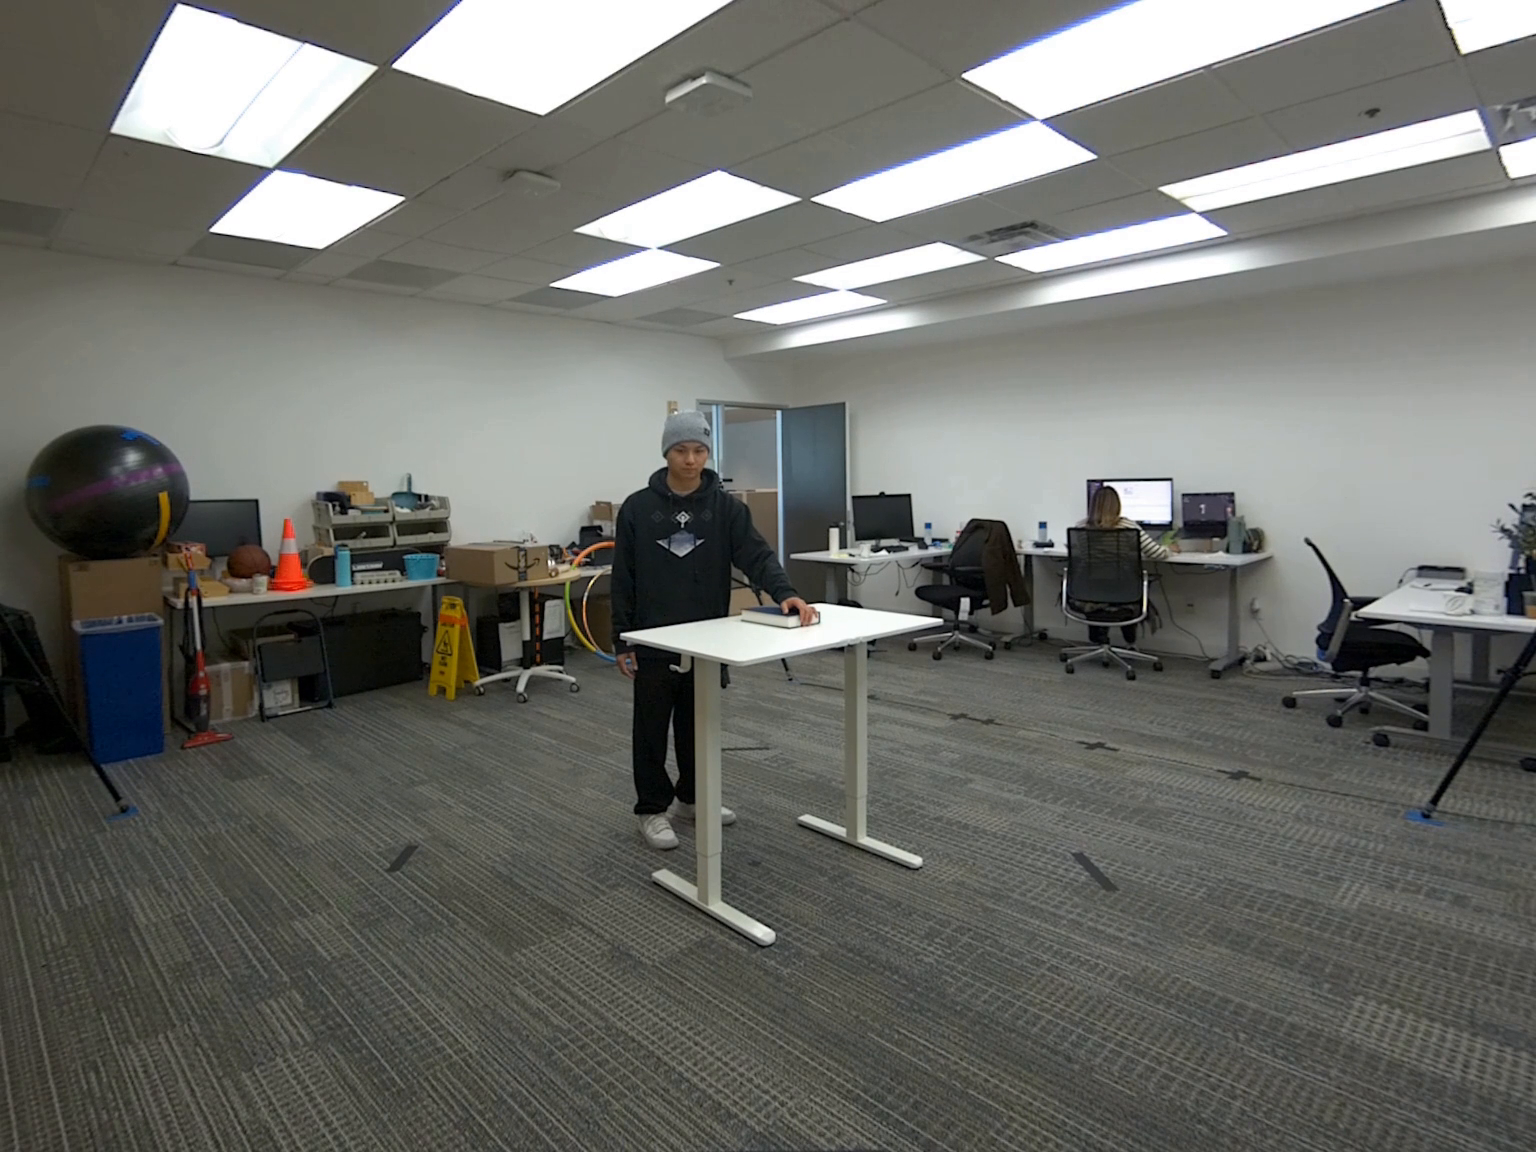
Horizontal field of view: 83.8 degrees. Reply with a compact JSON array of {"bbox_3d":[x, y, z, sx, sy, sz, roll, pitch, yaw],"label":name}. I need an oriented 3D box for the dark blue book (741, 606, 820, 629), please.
[{"bbox_3d":[0.023,0.144,3.068,0.159,0.045,0.253,-5,8,-44],"label":"dark blue book"}]
